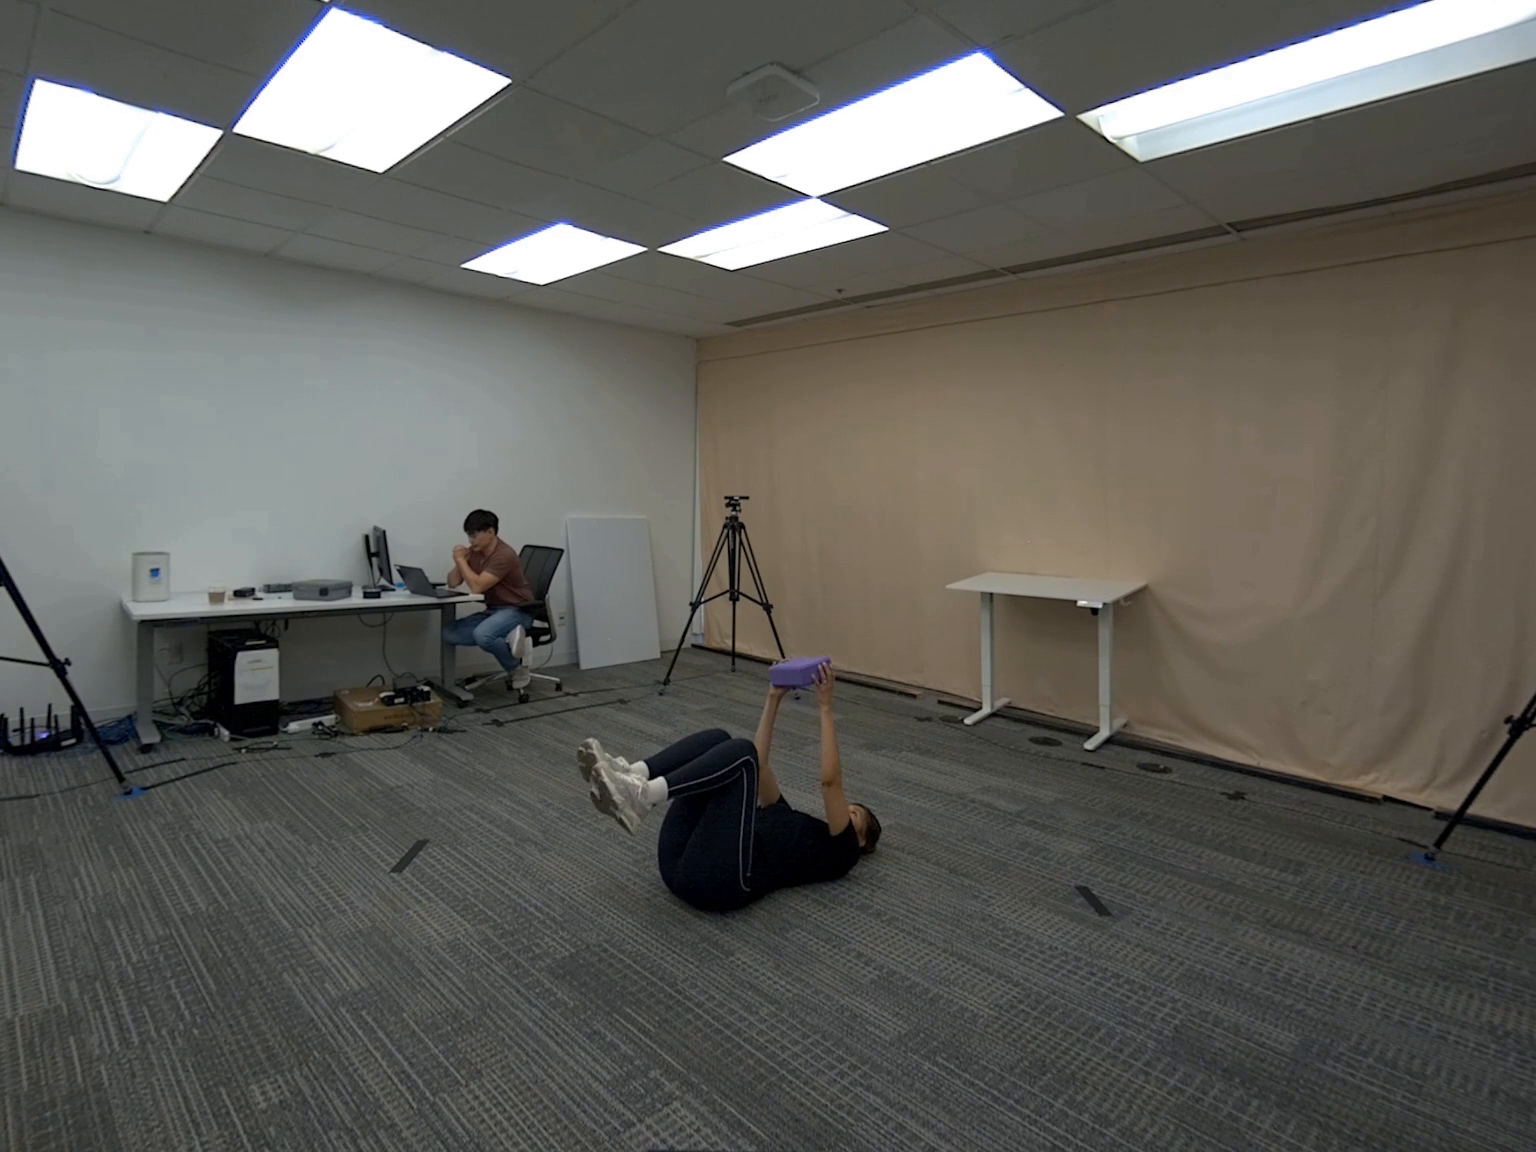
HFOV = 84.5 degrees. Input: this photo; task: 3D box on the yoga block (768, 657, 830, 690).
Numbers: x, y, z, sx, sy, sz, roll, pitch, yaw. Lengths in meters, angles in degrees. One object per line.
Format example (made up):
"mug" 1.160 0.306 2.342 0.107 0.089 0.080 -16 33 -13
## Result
"yoga block" 0.120 0.367 3.198 0.146 0.076 0.233 -14 1 -32
